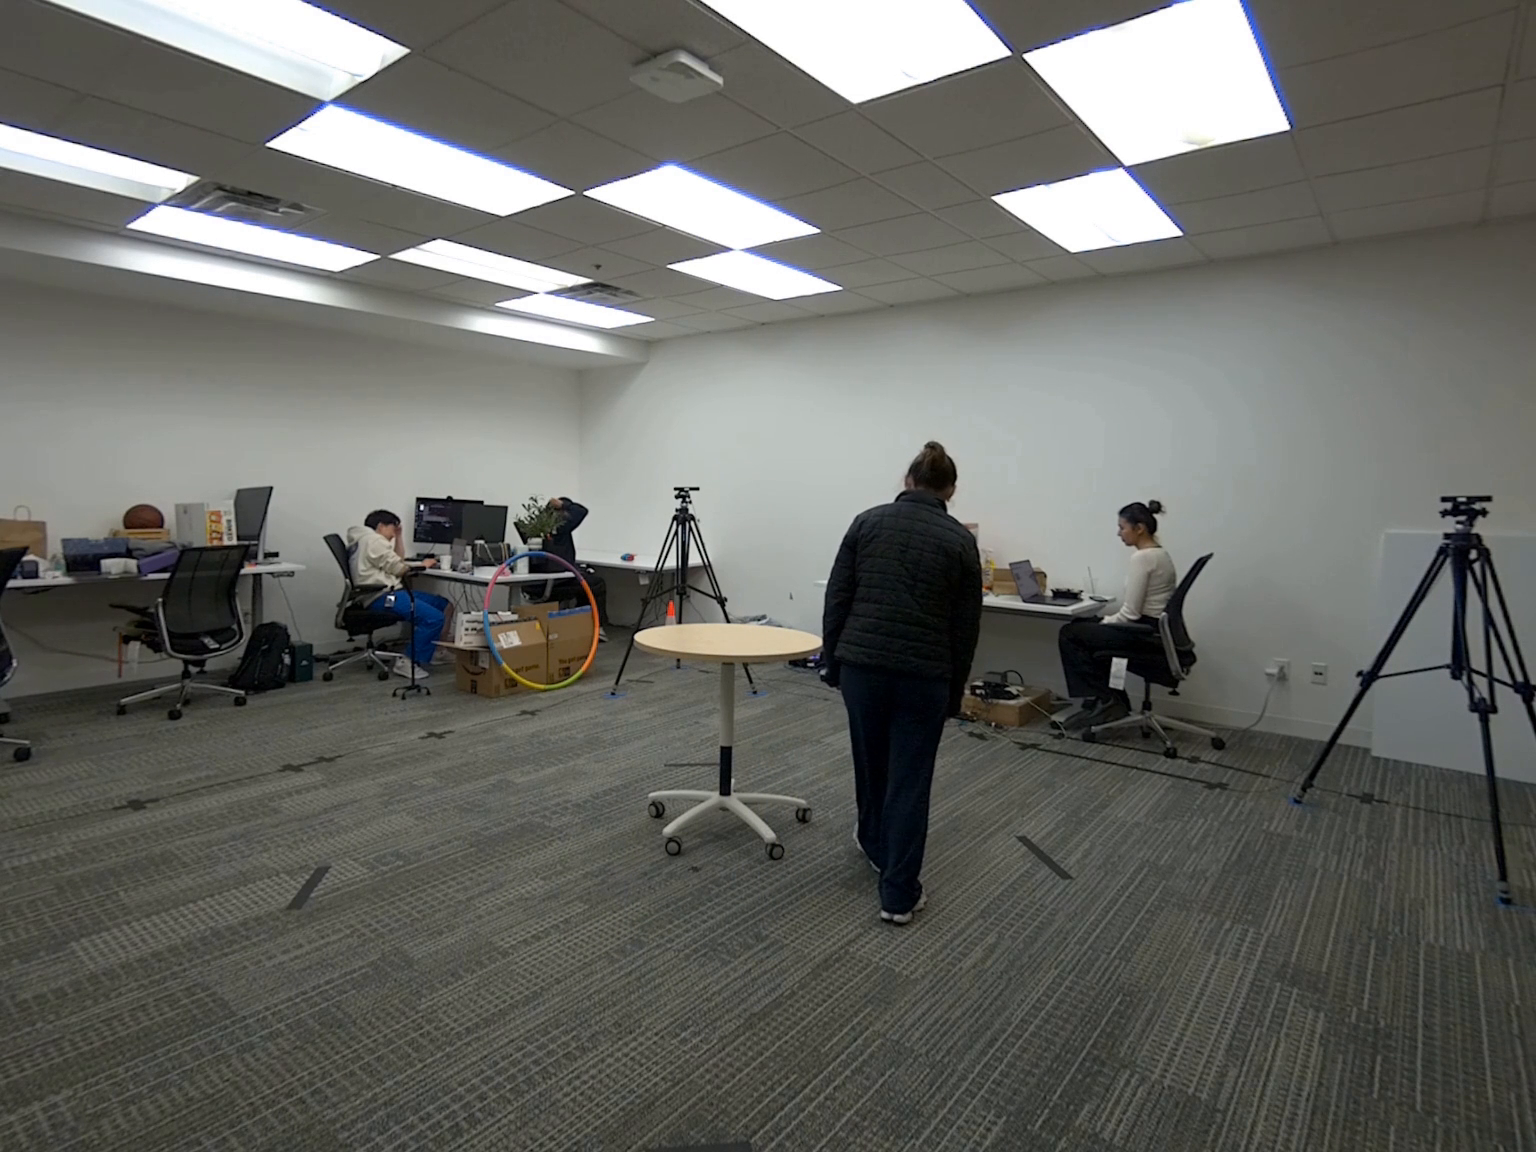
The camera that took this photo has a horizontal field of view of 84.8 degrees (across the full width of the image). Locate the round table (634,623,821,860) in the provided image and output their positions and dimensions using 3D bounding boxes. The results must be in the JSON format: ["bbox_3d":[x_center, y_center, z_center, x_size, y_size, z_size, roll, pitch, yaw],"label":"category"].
[{"bbox_3d":[-0.166,0.634,3.472,0.784,0.784,0.788,1,4,-2],"label":"round table"}]
